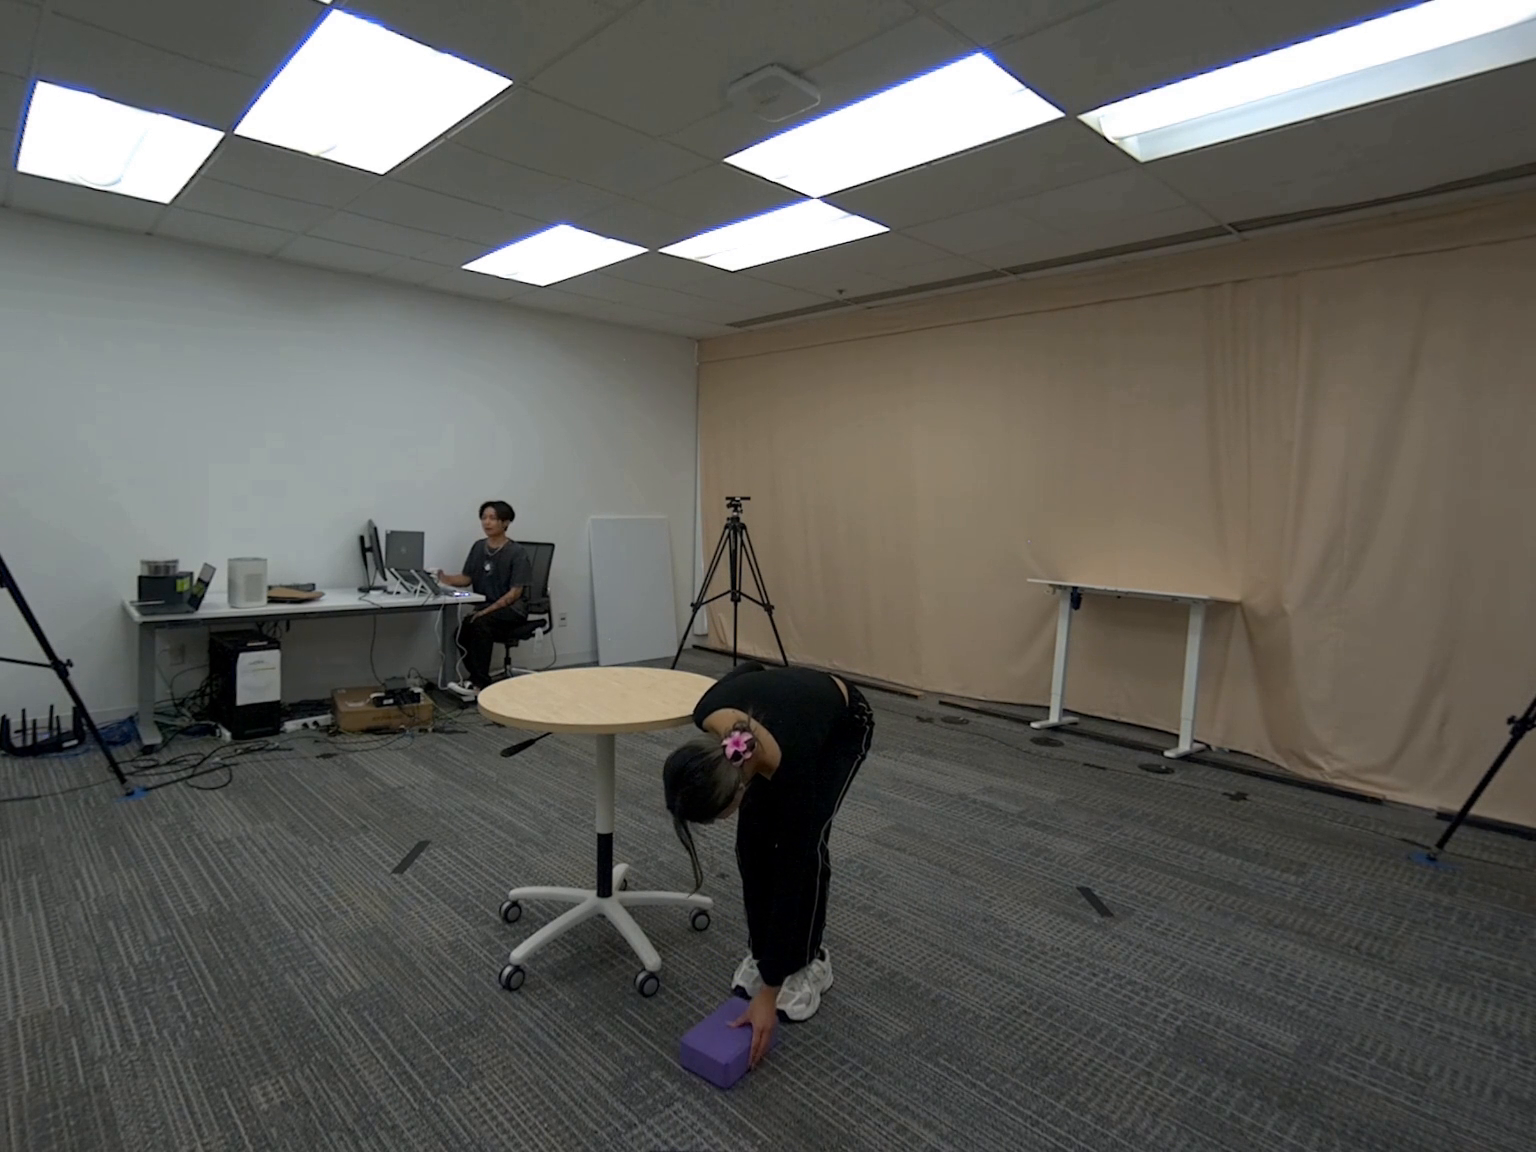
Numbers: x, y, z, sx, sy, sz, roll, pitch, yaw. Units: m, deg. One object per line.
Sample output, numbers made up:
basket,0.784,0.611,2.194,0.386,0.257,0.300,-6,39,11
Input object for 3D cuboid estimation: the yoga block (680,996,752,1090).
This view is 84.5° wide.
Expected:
yoga block,-0.105,1.164,2.097,0.153,0.076,0.224,7,8,36
